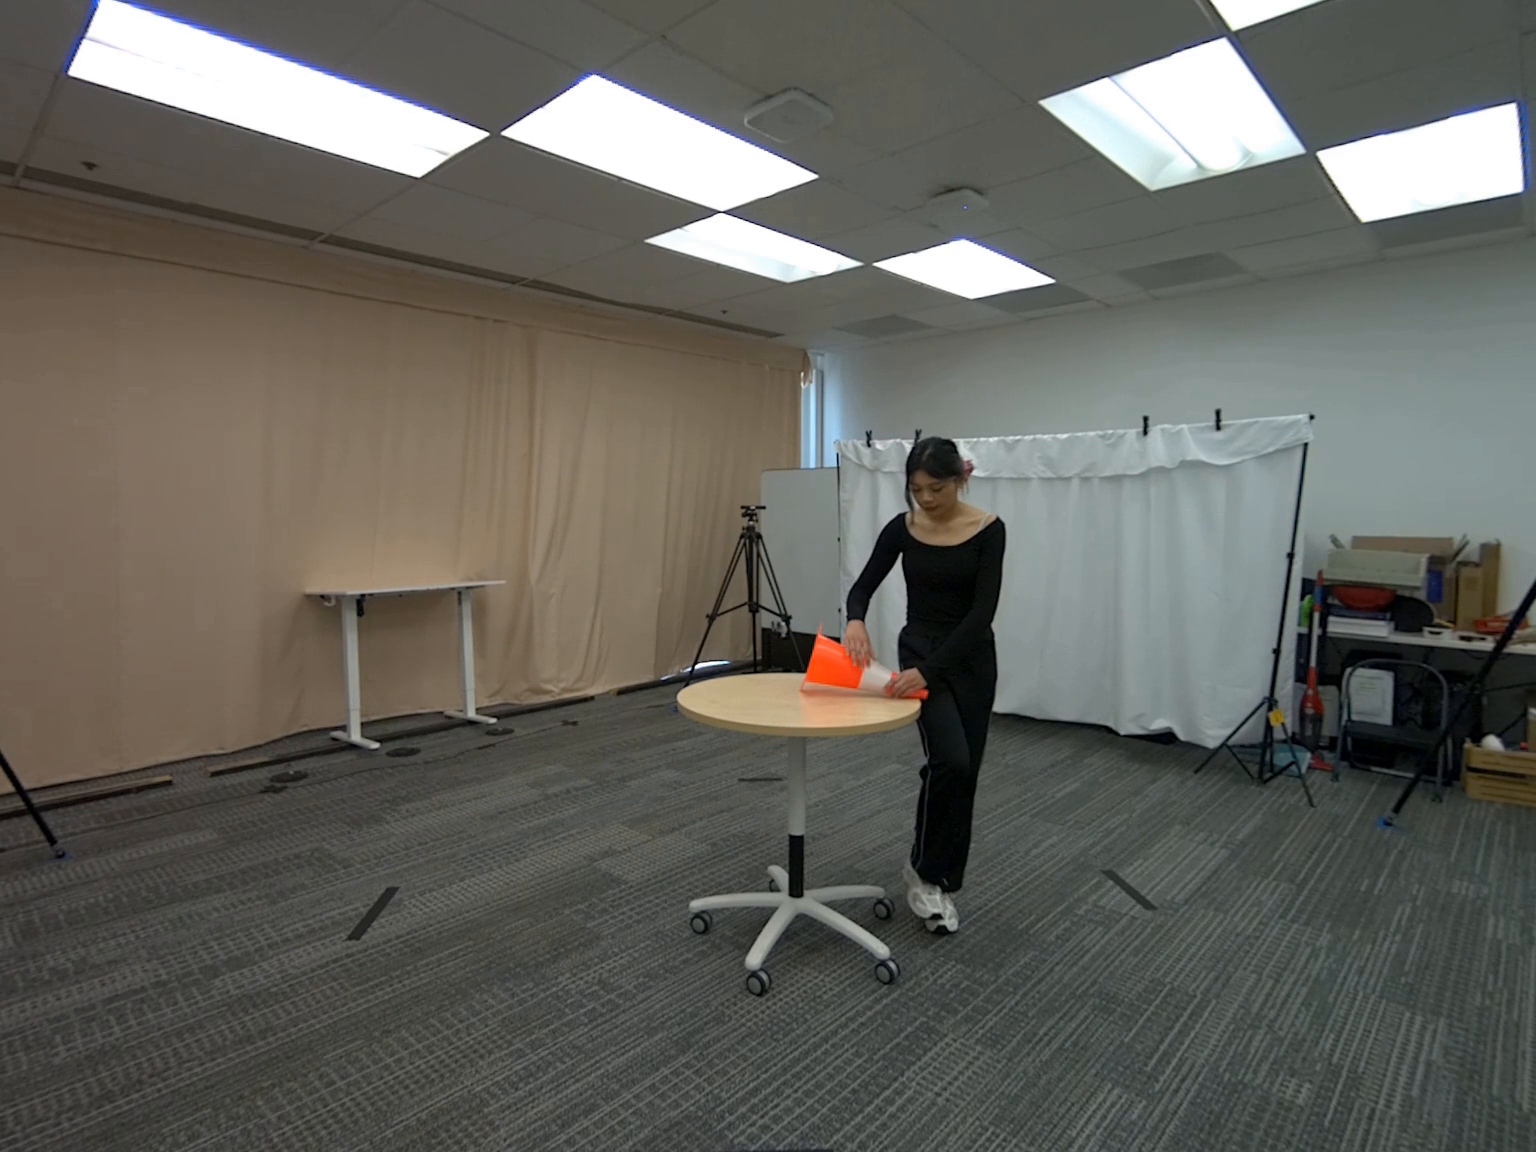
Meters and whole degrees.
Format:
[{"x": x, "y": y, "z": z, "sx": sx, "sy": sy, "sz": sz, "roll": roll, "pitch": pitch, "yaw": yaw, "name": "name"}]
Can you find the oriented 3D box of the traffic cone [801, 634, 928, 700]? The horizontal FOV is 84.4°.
[{"x": 0.326, "y": 0.323, "z": 2.692, "sx": 0.387, "sy": 0.206, "sz": 0.200, "roll": 17, "pitch": -24, "yaw": 7, "name": "traffic cone"}]
